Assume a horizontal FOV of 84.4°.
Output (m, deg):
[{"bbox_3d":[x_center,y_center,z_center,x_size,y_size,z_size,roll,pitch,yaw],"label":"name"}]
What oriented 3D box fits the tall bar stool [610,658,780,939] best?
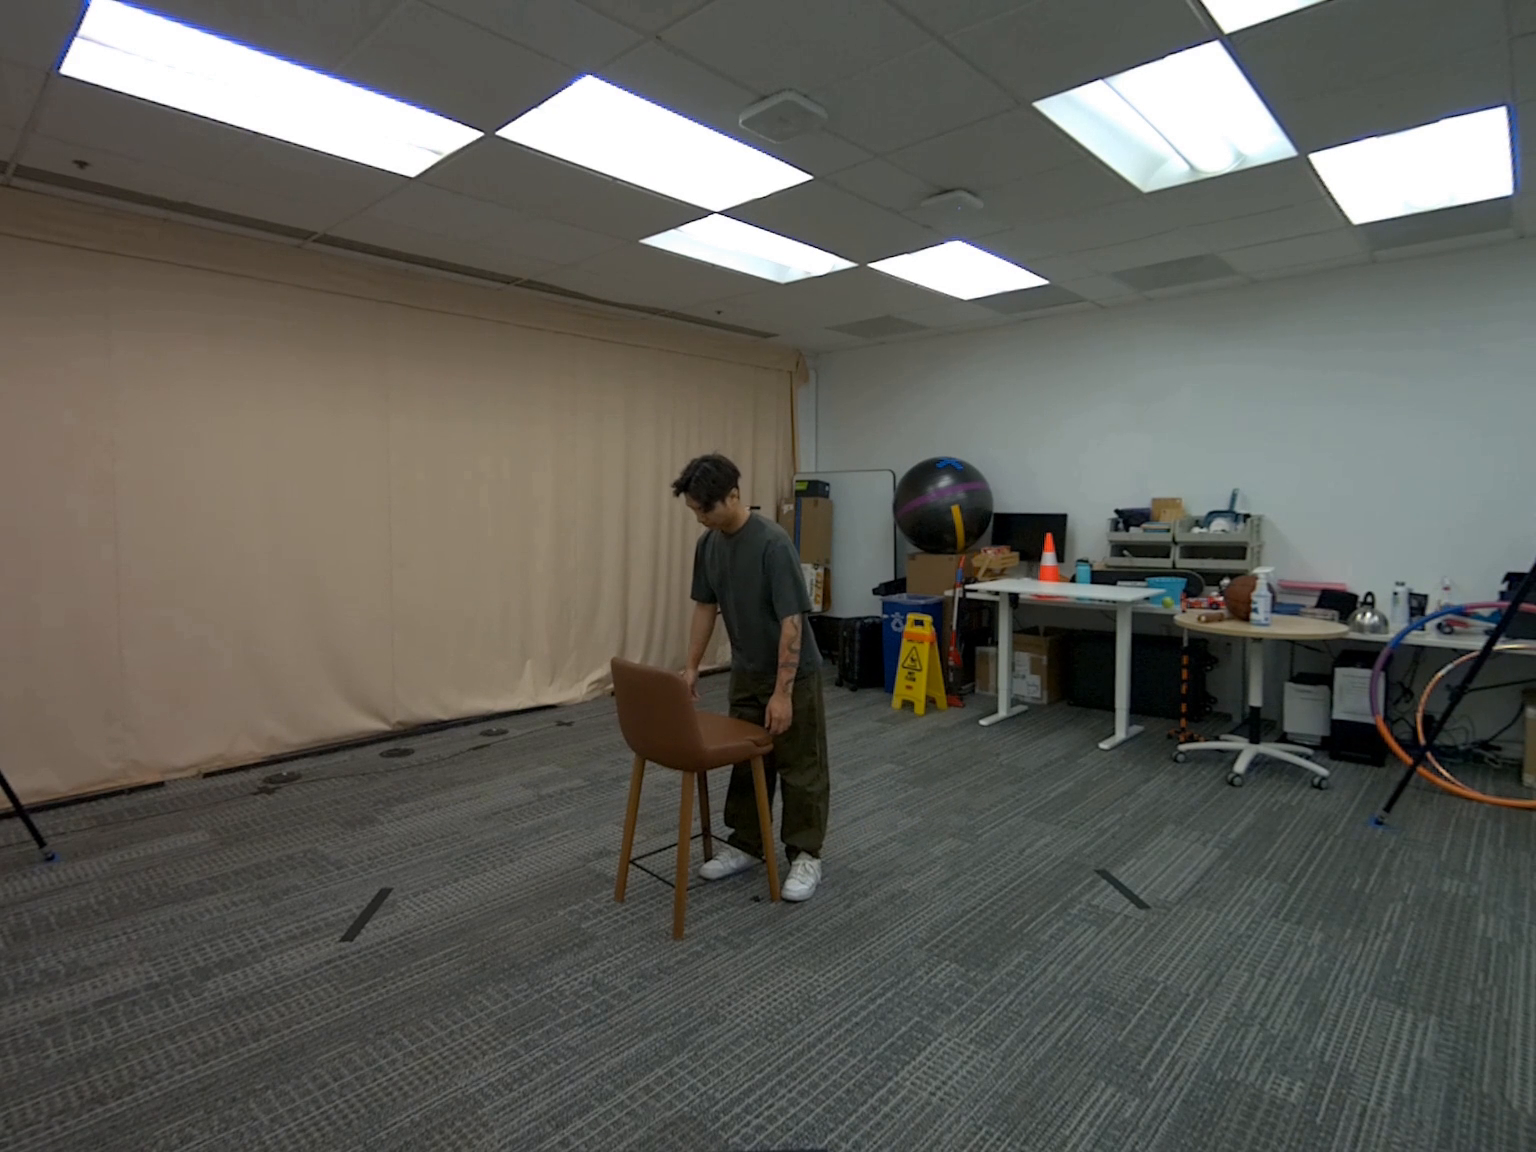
[{"bbox_3d":[-0.253,0.705,2.952,0.454,0.887,0.471,-6,6,-41],"label":"tall bar stool"}]
